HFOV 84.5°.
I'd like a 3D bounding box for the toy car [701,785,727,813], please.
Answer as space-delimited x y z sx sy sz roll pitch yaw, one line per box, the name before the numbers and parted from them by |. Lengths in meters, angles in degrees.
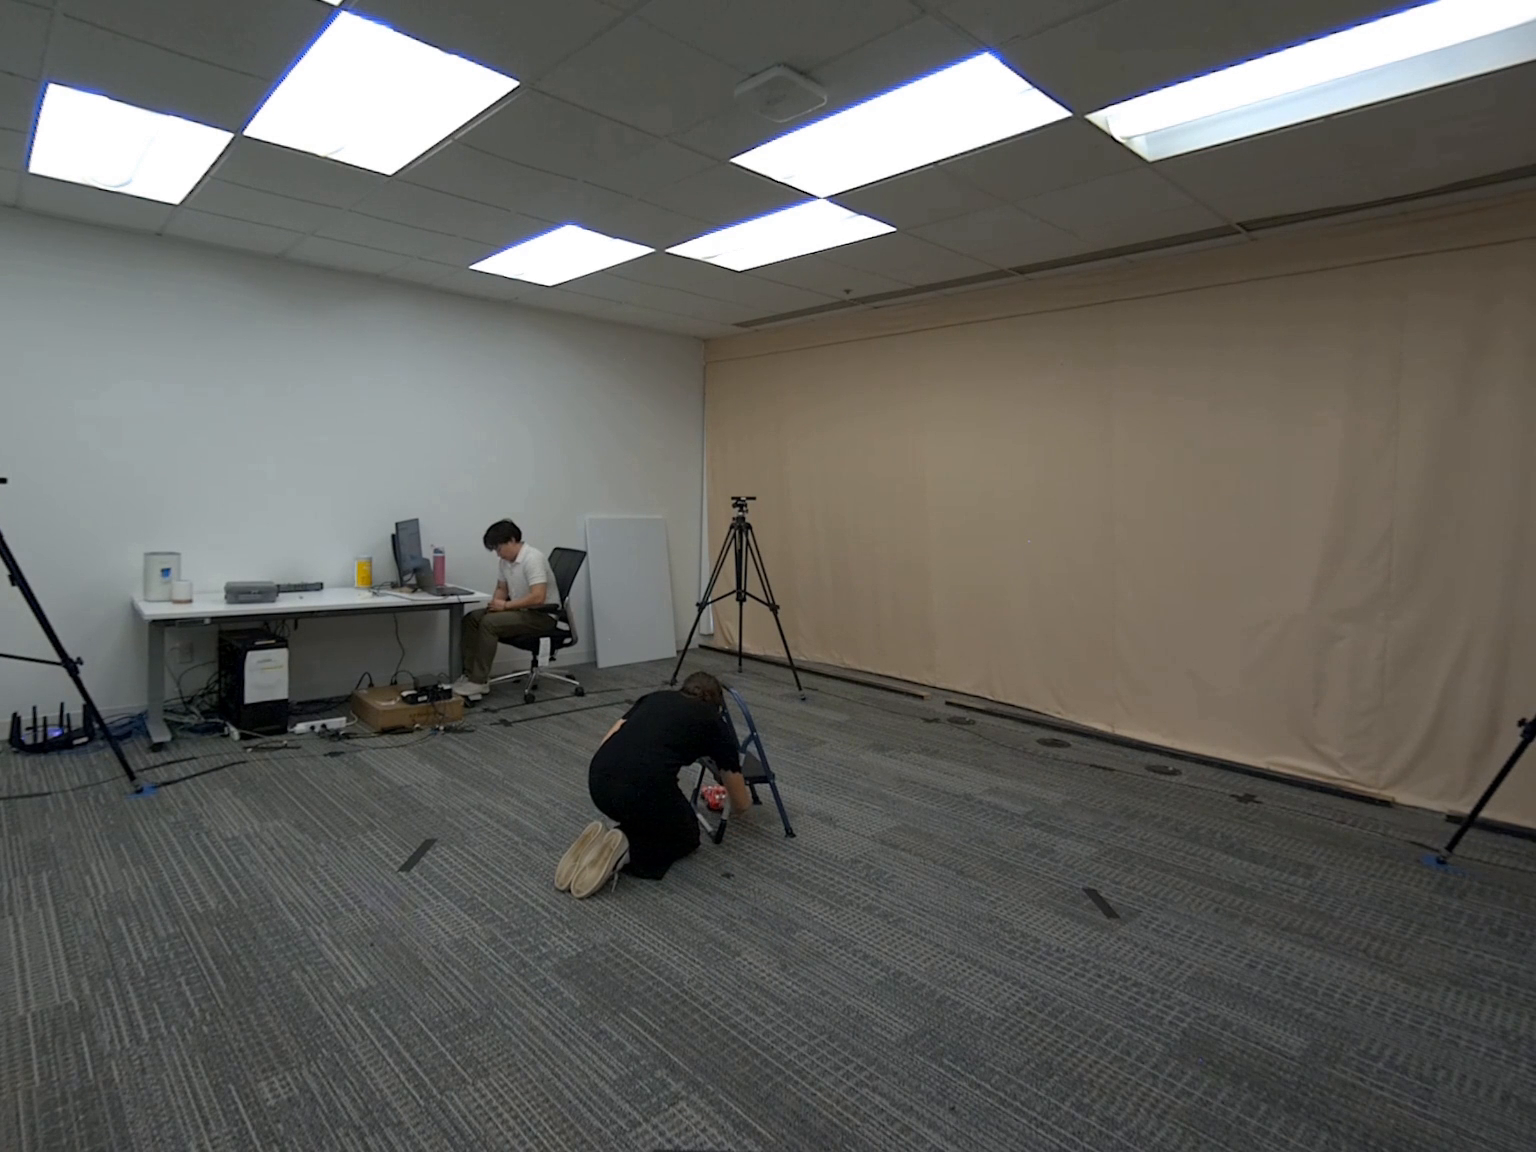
toy car | -0.240 1.009 3.828 0.129 0.083 0.256 0 -5 -15
